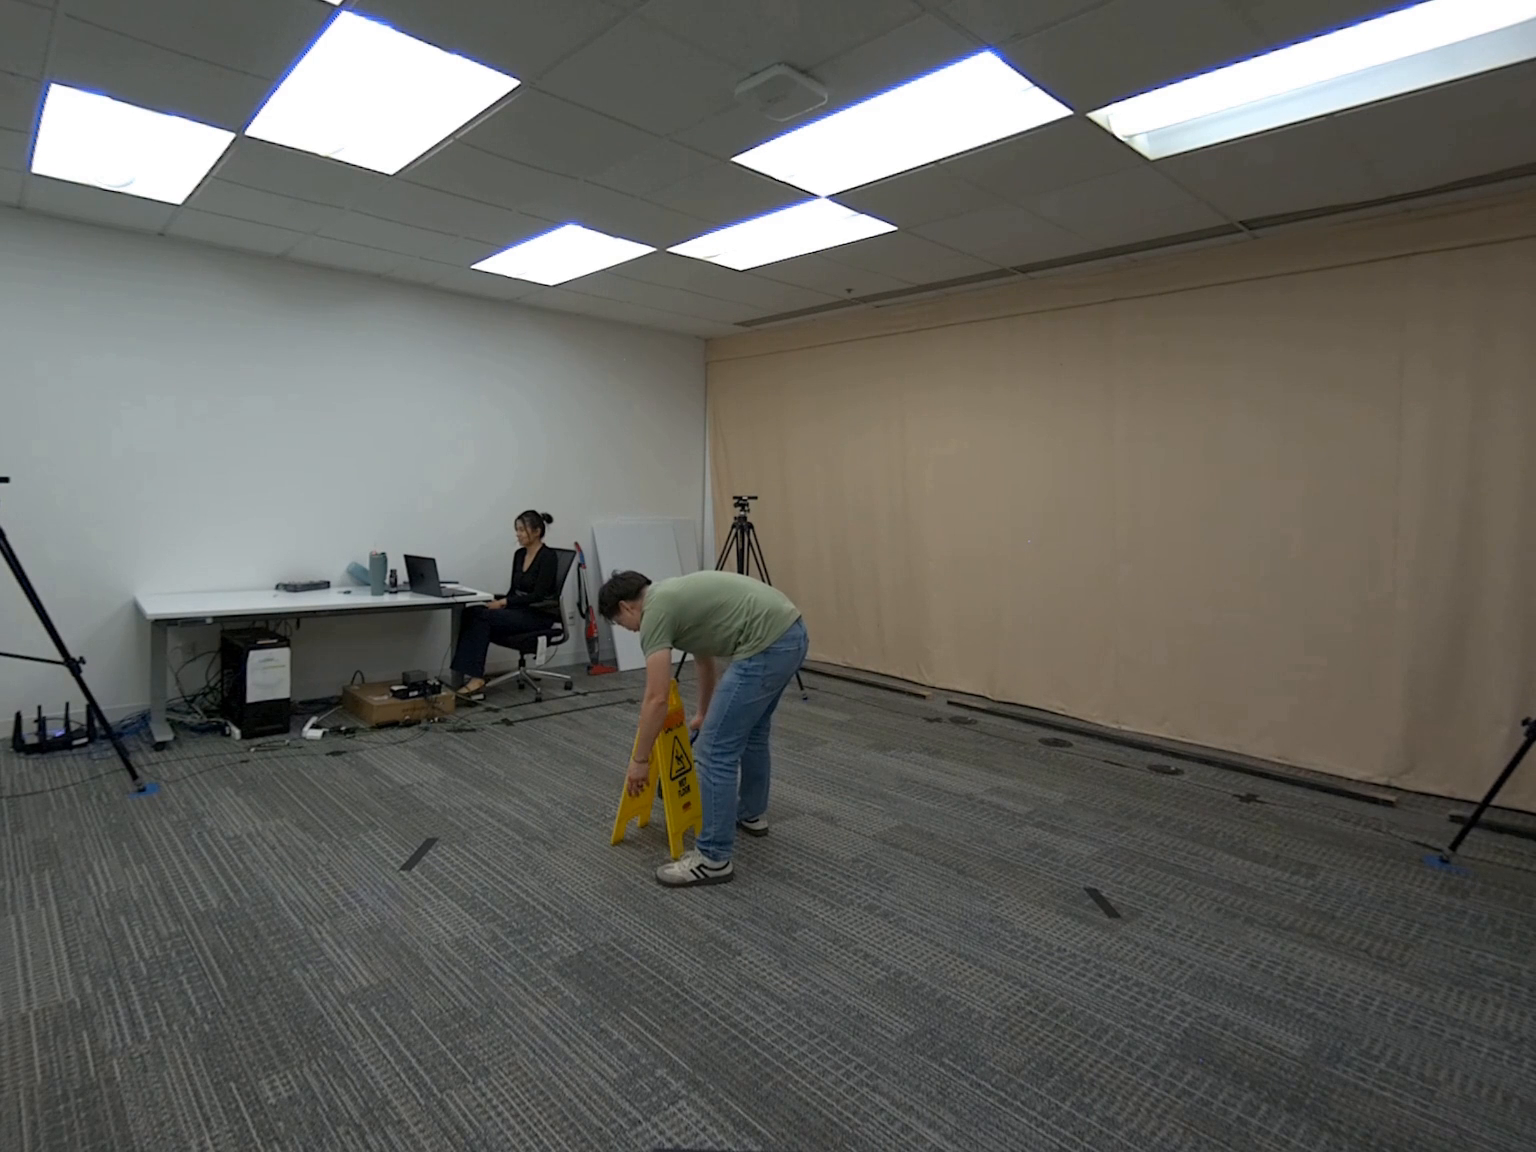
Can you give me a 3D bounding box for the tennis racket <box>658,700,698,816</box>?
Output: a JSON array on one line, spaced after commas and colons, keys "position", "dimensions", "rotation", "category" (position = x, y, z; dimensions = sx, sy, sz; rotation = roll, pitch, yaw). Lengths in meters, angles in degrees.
[{"position": [-0.365, 0.760, 3.575], "dimensions": [0.032, 0.209, 0.438], "rotation": [8, 42, 11], "category": "tennis racket"}]
